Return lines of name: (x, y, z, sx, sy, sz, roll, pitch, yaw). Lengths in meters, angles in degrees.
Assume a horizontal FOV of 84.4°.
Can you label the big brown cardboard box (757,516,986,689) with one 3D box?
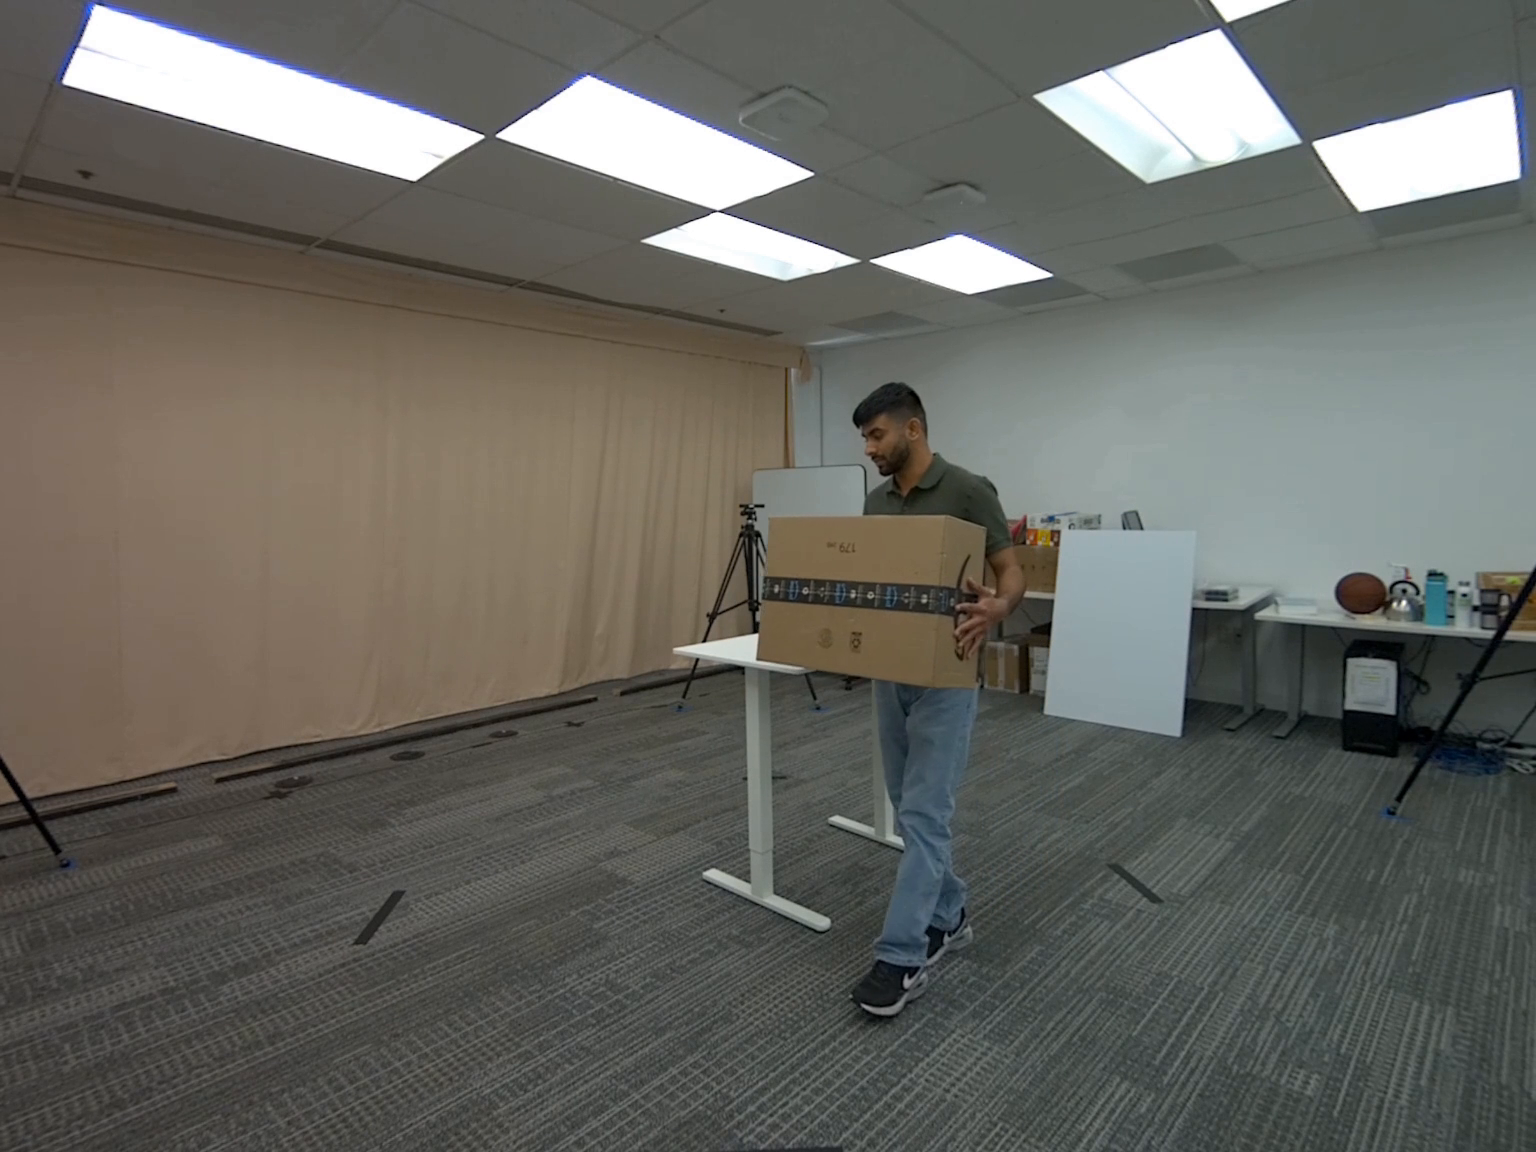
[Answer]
big brown cardboard box: (0.264, 0.060, 2.279, 0.608, 0.418, 0.225, 3, -5, 43)
